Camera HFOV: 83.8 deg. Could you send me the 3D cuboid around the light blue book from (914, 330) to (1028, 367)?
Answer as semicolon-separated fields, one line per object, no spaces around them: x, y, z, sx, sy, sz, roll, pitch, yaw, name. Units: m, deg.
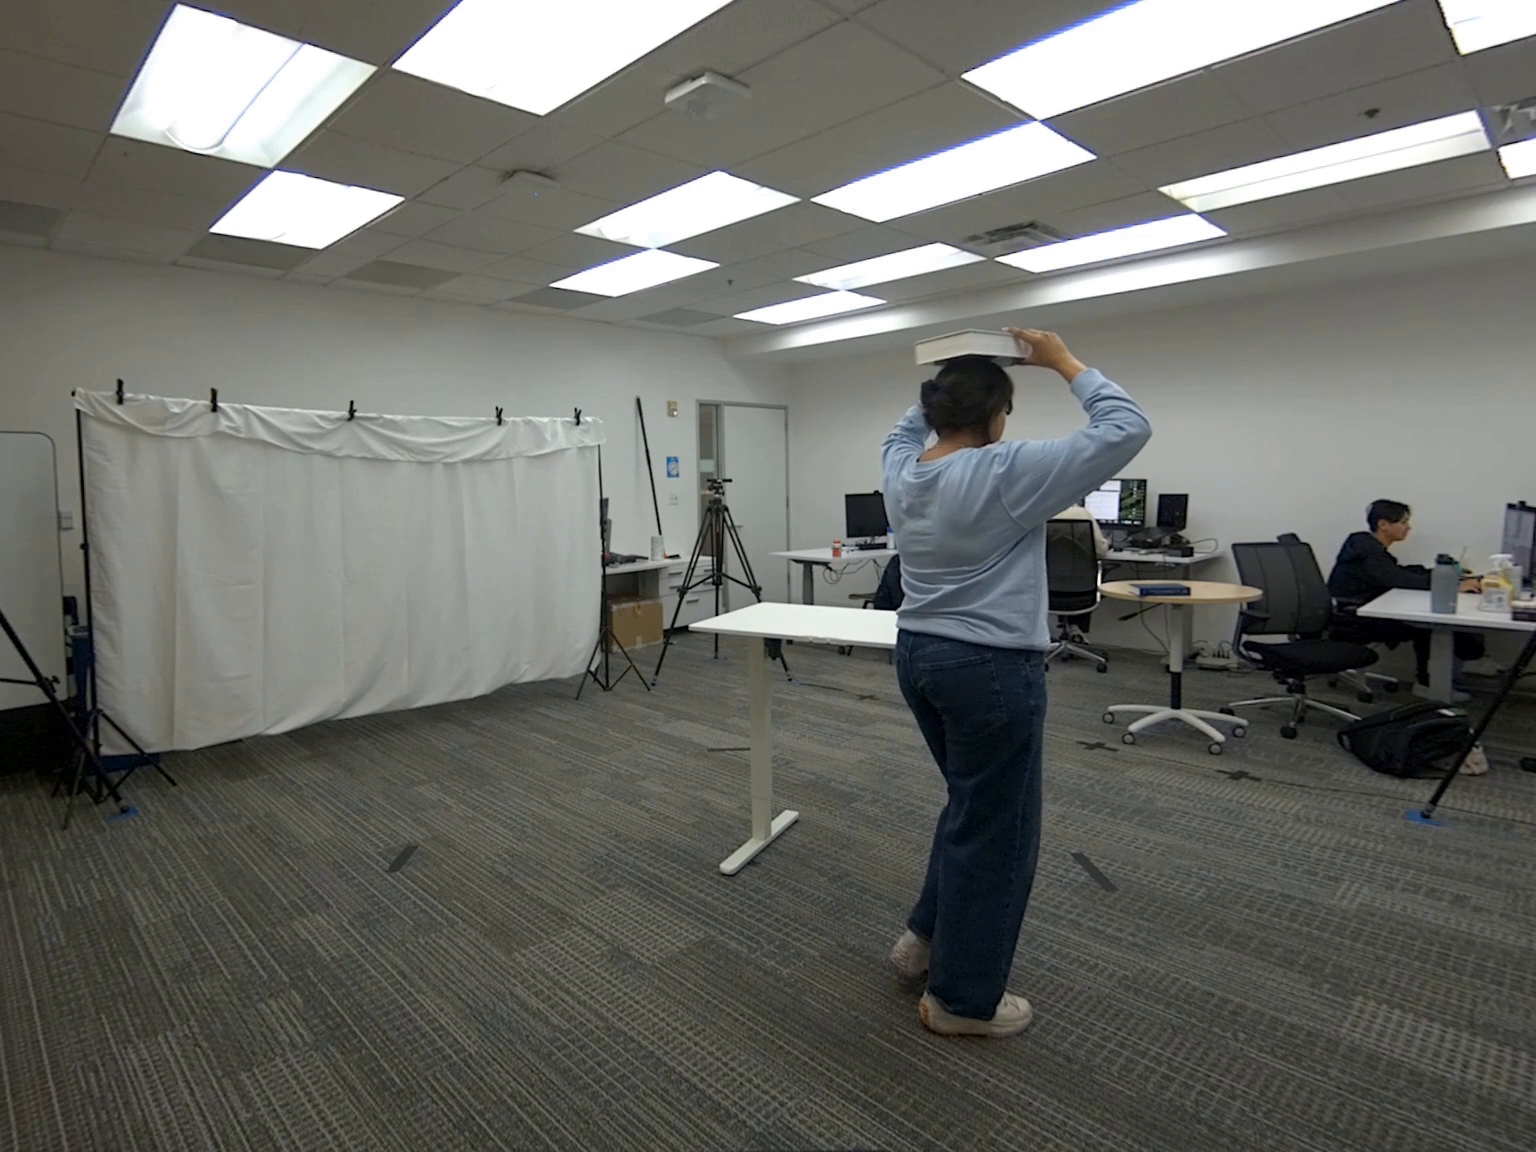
0.545;-0.570;2.130;0.255;0.059;0.197;-4;6;-30;light blue book
